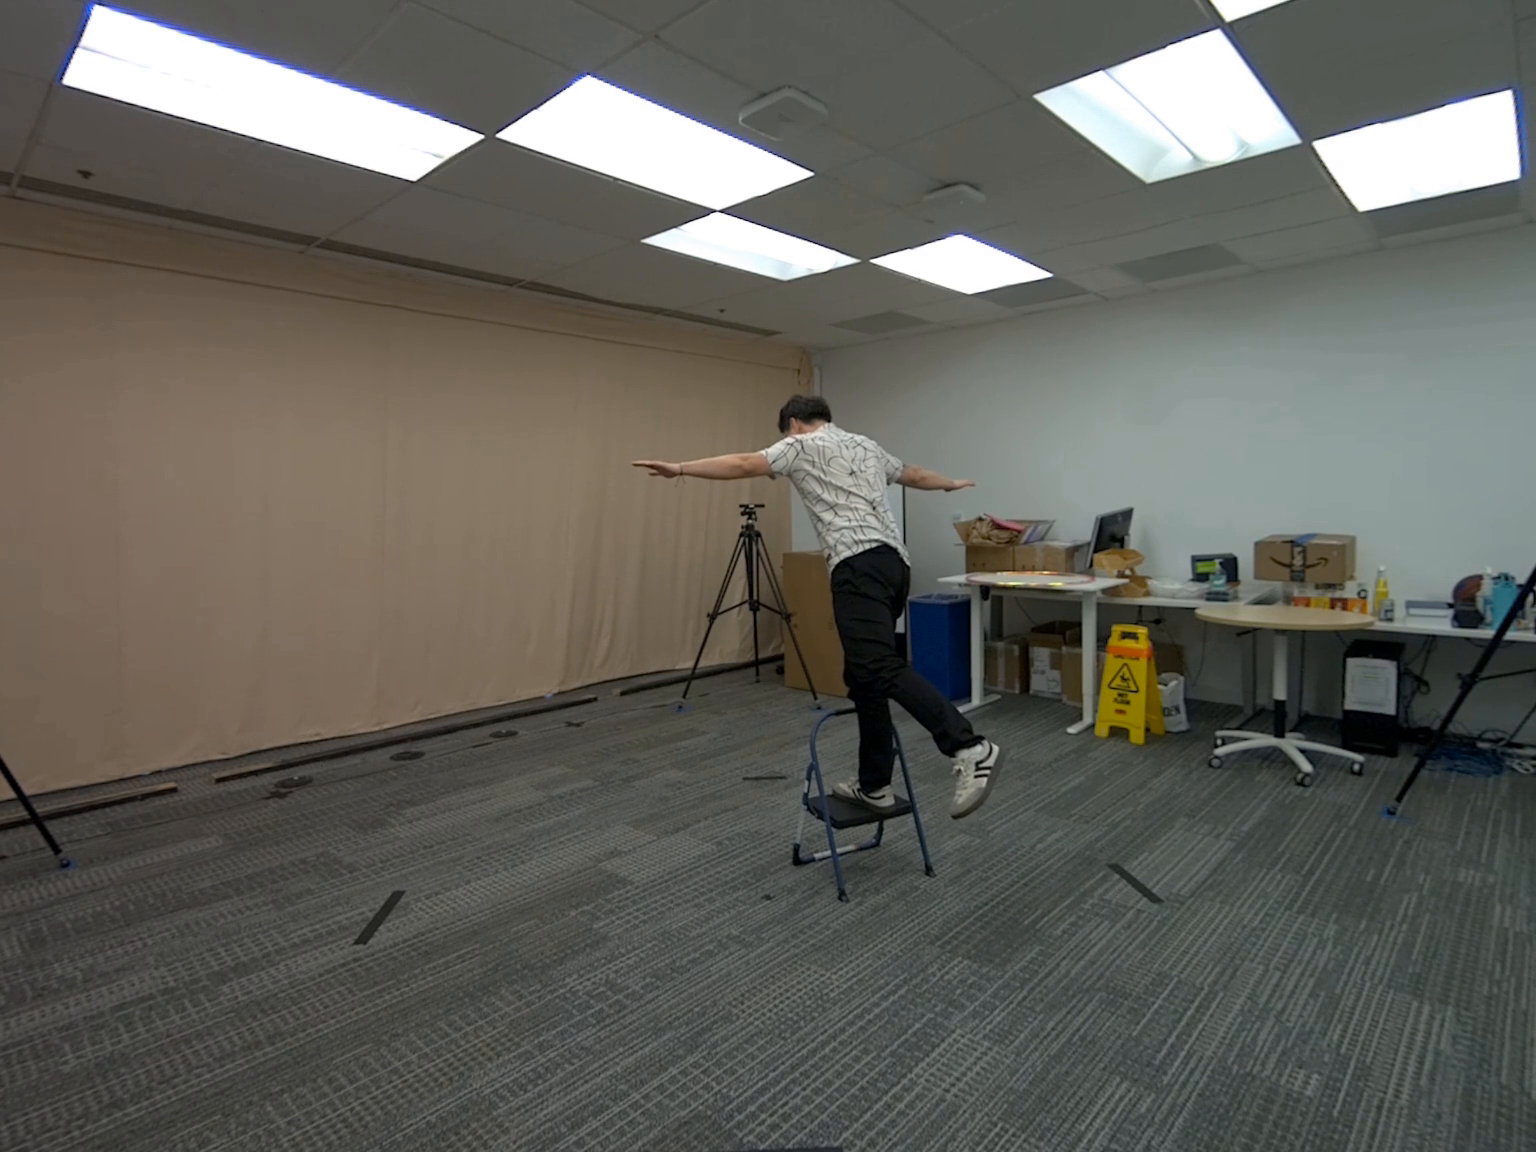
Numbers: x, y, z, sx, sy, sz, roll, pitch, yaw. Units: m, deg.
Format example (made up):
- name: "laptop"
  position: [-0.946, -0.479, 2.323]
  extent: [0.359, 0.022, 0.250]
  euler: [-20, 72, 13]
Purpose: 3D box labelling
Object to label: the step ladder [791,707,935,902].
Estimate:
- name: "step ladder"
  position: [0.356, 0.813, 3.174]
  extent: [0.419, 0.605, 0.359]
  euler: [-3, 4, -30]
